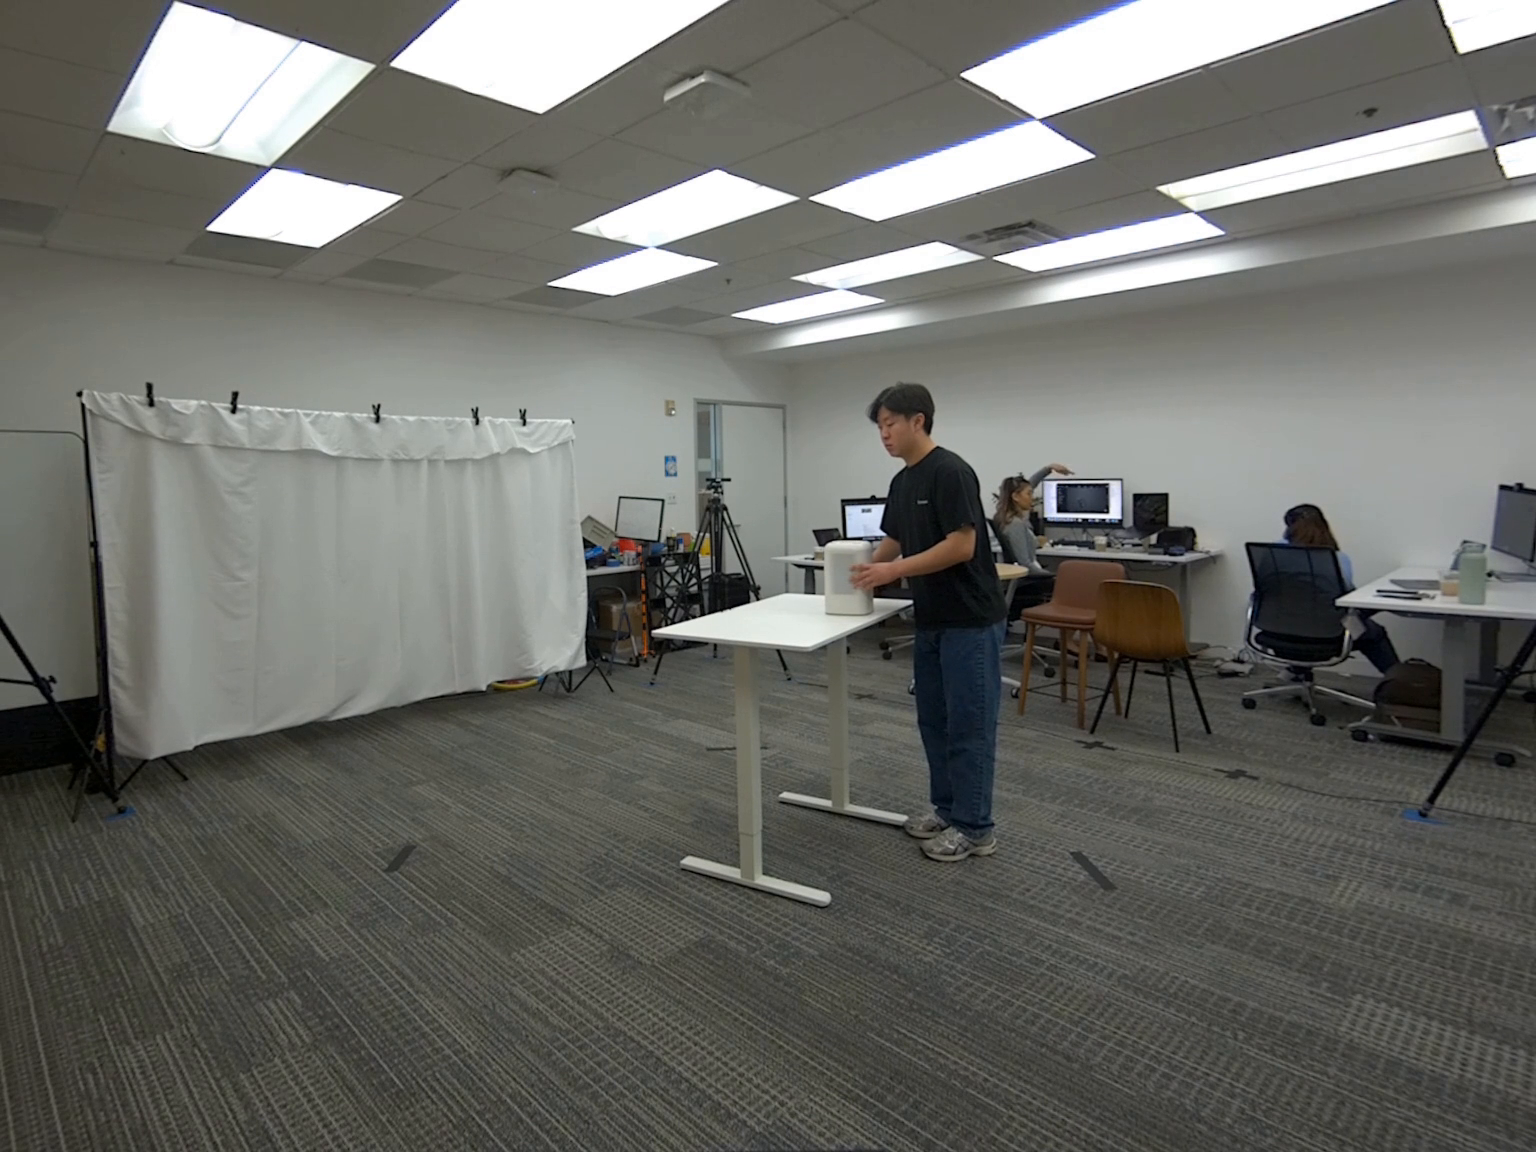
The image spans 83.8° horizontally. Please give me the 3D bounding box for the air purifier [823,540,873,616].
[{"bbox_3d":[0.313,0.002,3.225,0.174,0.264,0.169,-1,5,16],"label":"air purifier"}]
